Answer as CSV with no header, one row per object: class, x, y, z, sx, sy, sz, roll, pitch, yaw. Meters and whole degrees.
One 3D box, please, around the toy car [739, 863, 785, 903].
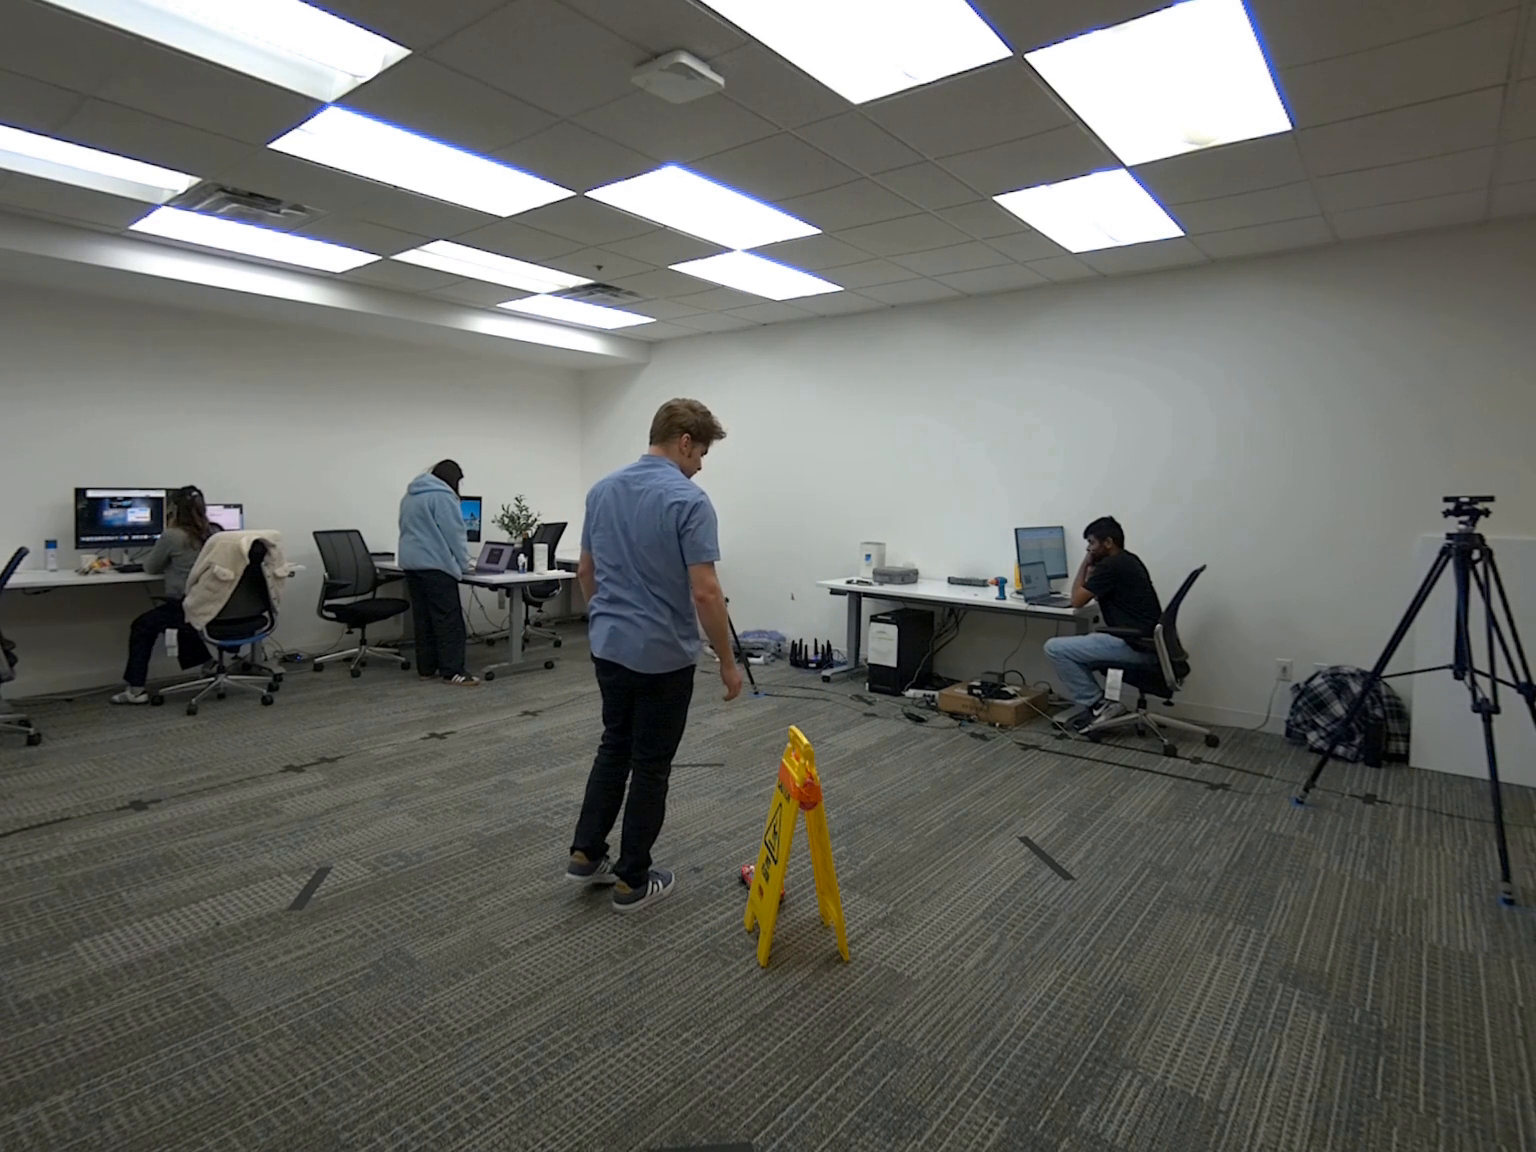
toy car,-0.025,1.056,2.922,0.128,0.084,0.257,1,-6,-16
